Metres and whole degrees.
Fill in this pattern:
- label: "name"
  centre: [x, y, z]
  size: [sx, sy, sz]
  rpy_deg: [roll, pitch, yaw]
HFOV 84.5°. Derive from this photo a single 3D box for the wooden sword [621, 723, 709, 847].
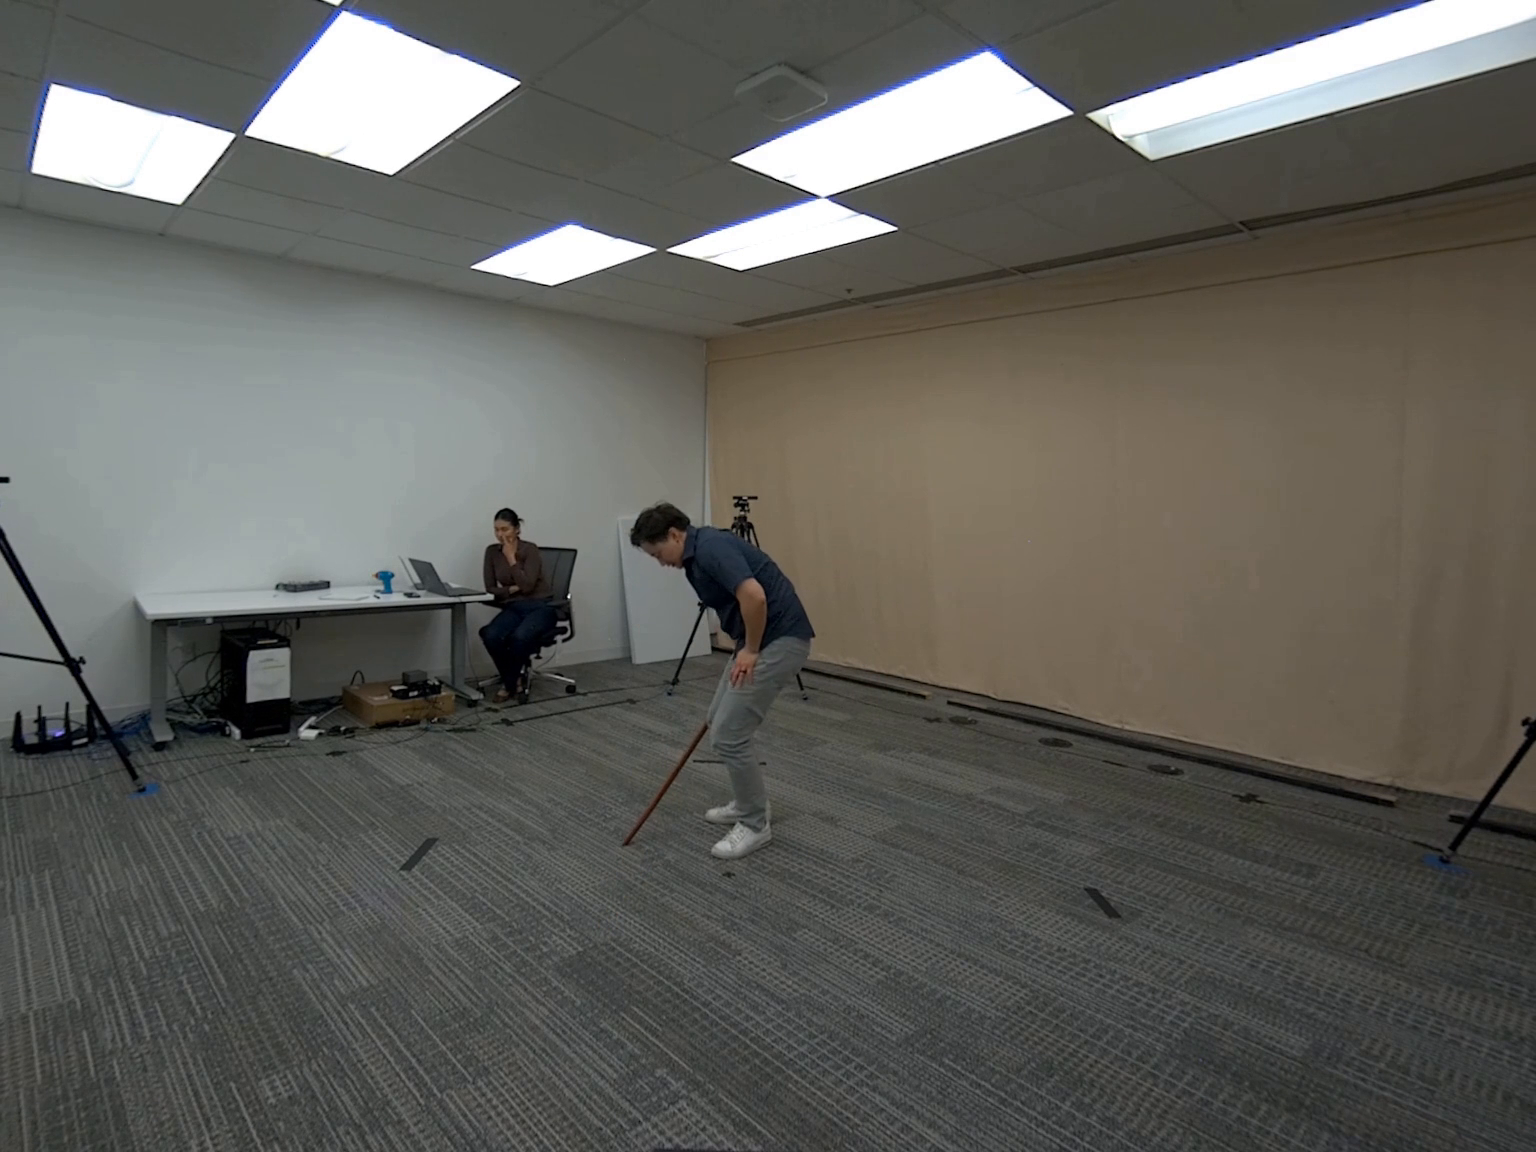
- label: "wooden sword"
  centre: [-0.348, 0.758, 3.617]
  size: [0.052, 0.024, 1.027]
  rpy_deg: [-25, 22, 51]
